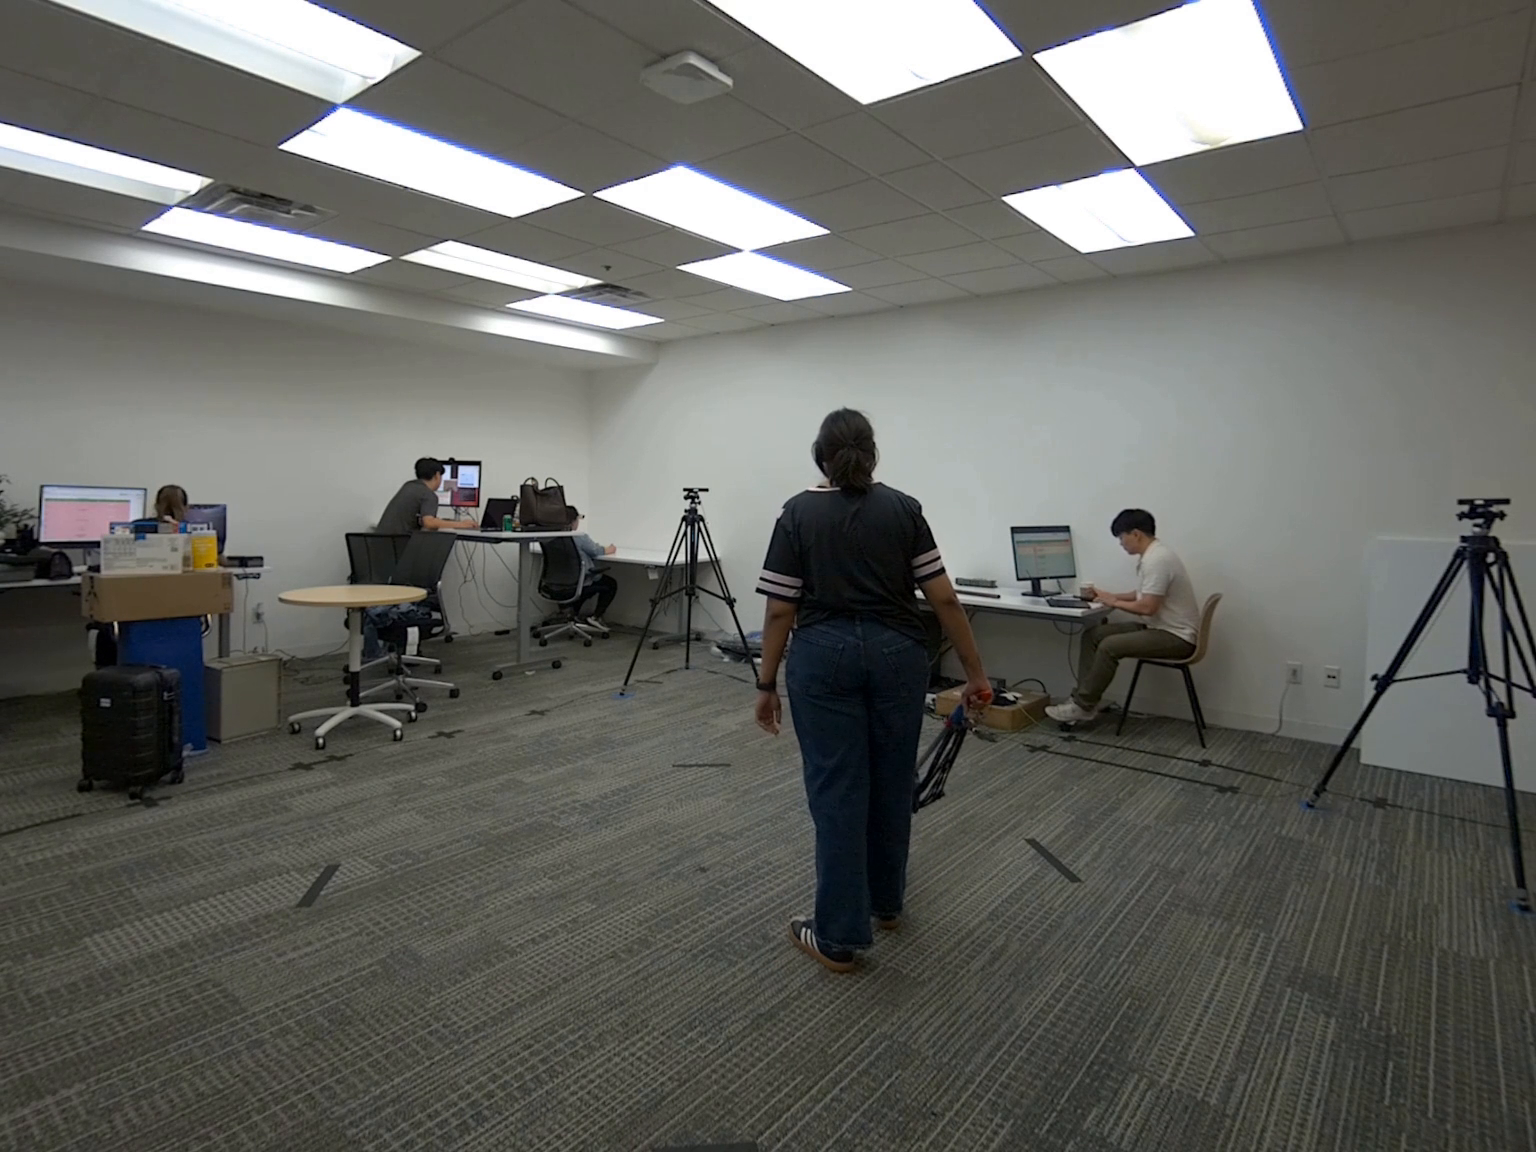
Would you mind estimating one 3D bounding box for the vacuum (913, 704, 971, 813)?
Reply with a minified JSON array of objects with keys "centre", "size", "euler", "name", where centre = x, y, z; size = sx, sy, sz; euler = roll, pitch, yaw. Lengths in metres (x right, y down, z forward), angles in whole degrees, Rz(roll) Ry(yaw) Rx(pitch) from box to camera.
[{"centre":[0.502,0.705,2.902],"size":[0.247,0.149,1.034],"euler":[0,-42,-23],"name":"vacuum"}]
